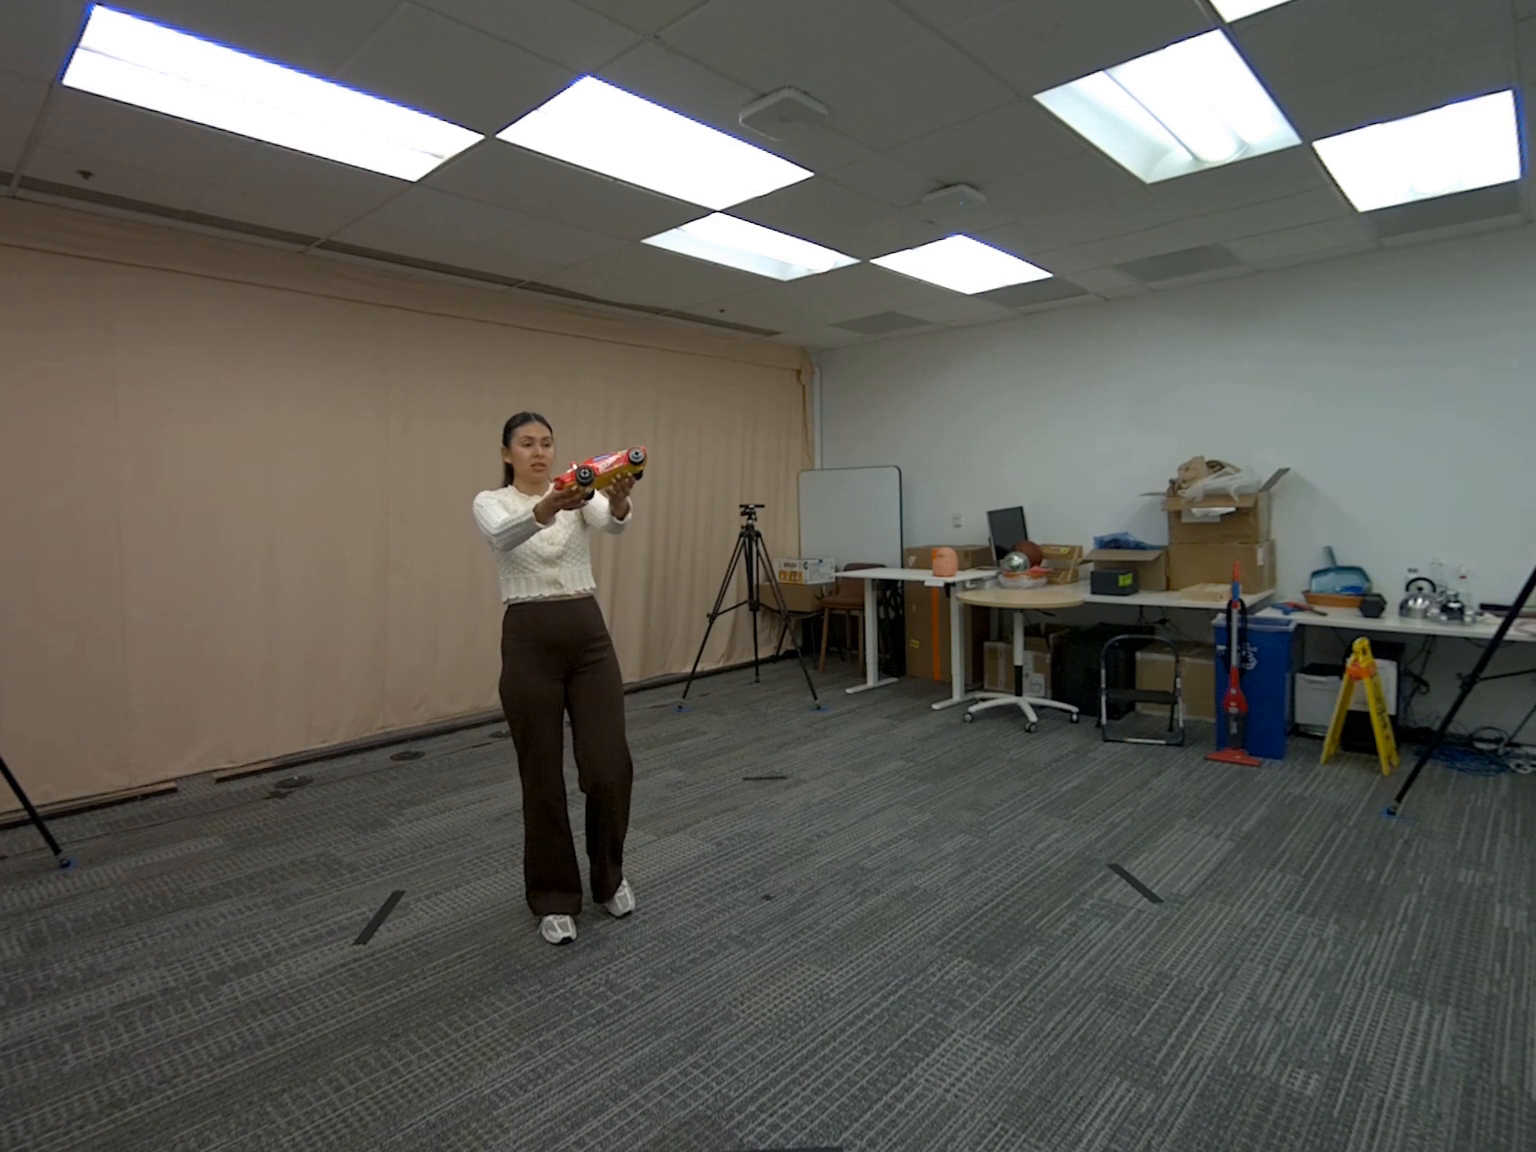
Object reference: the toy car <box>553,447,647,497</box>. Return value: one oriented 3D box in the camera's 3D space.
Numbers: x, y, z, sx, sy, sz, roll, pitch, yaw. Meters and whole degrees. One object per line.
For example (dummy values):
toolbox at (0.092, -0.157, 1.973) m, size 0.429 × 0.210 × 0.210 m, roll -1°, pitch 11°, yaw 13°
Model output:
toy car at (-0.438, -0.268, 2.228) m, size 0.252 × 0.084 × 0.129 m, roll -14°, pitch -18°, yaw -12°
